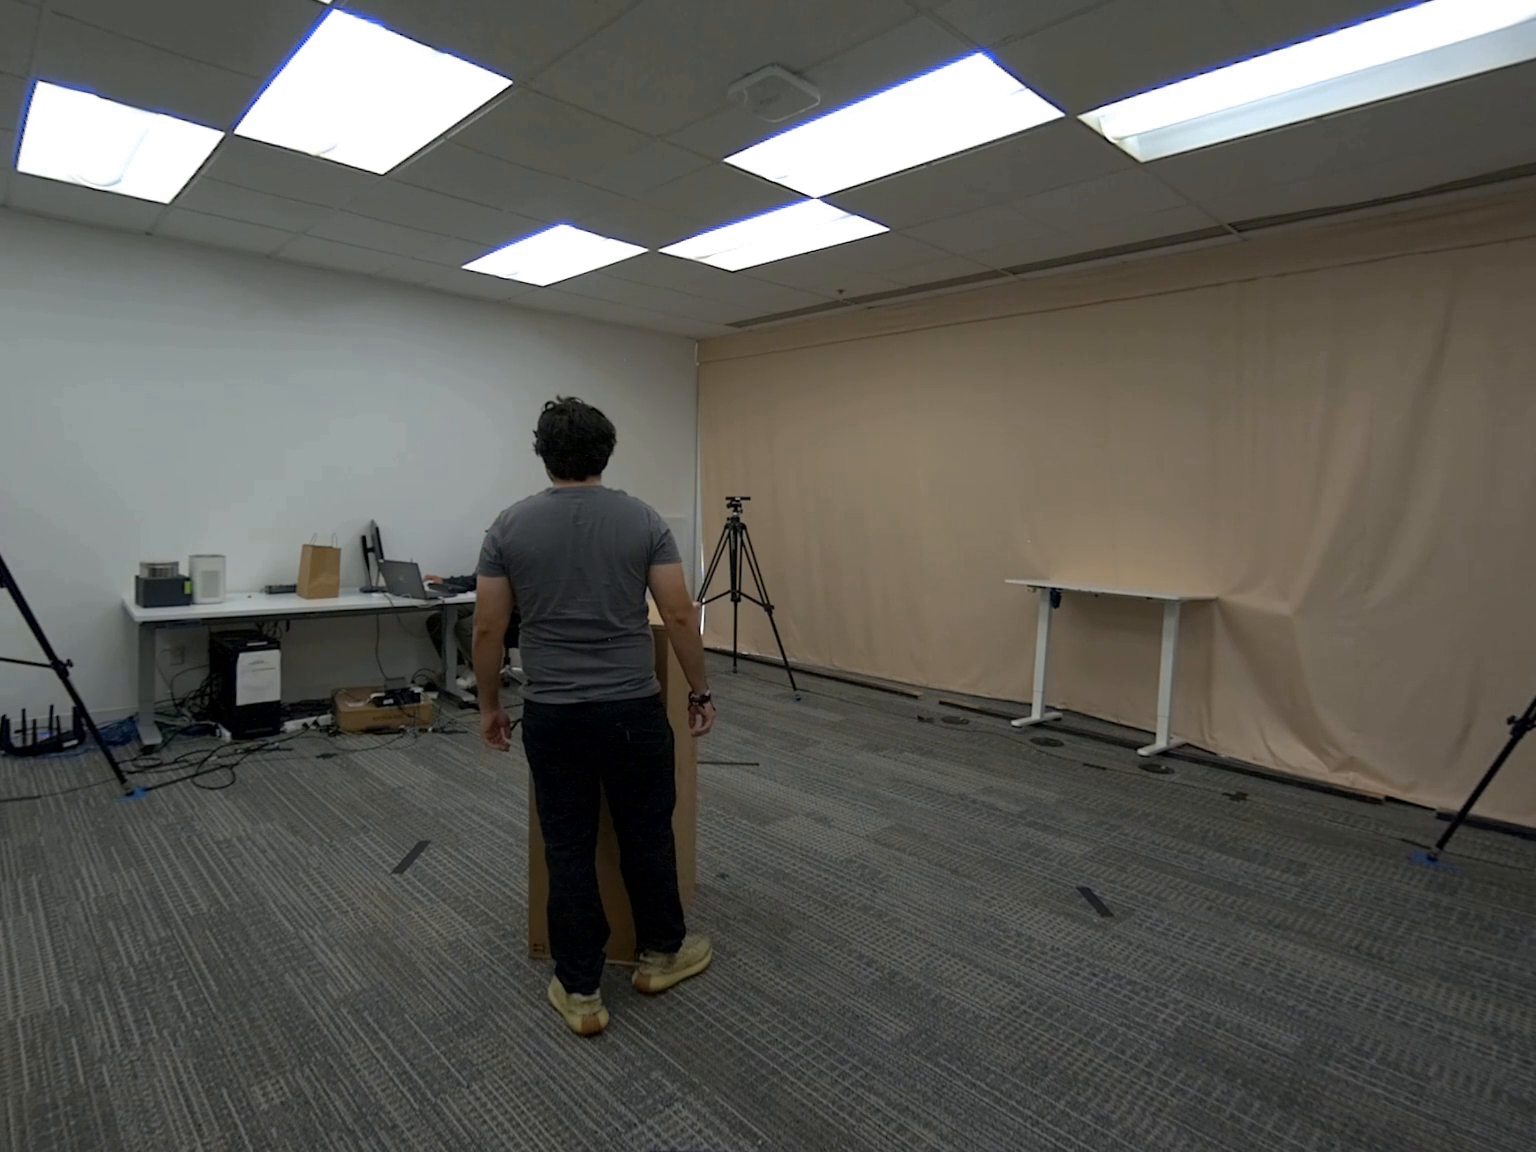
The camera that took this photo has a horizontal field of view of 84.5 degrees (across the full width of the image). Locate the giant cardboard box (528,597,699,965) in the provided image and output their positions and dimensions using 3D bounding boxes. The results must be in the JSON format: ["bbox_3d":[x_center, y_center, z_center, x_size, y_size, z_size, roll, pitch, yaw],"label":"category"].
[{"bbox_3d":[-0.494,0.627,2.759,0.449,1.024,0.582,2,4,5],"label":"giant cardboard box"}]
